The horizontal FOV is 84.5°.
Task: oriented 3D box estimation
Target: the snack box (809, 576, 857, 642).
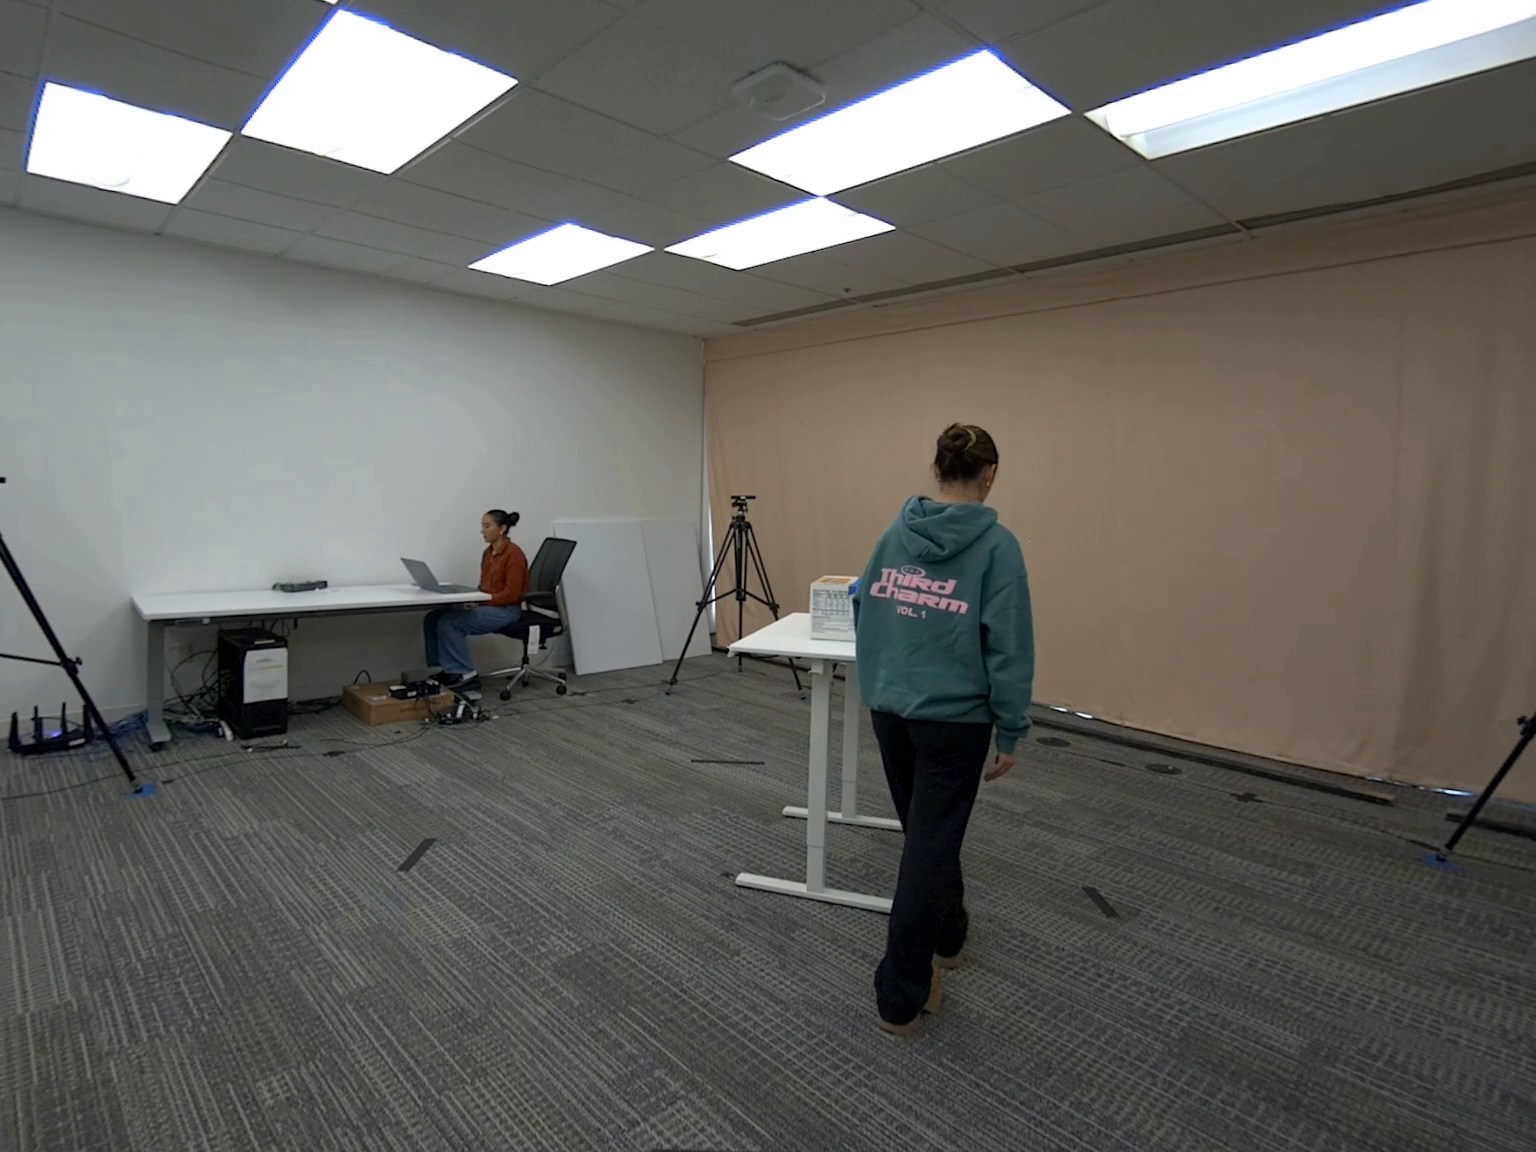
[{"bbox_3d":[0.352,0.123,3.212,0.344,0.205,0.401,3,4,13],"label":"snack box"}]
